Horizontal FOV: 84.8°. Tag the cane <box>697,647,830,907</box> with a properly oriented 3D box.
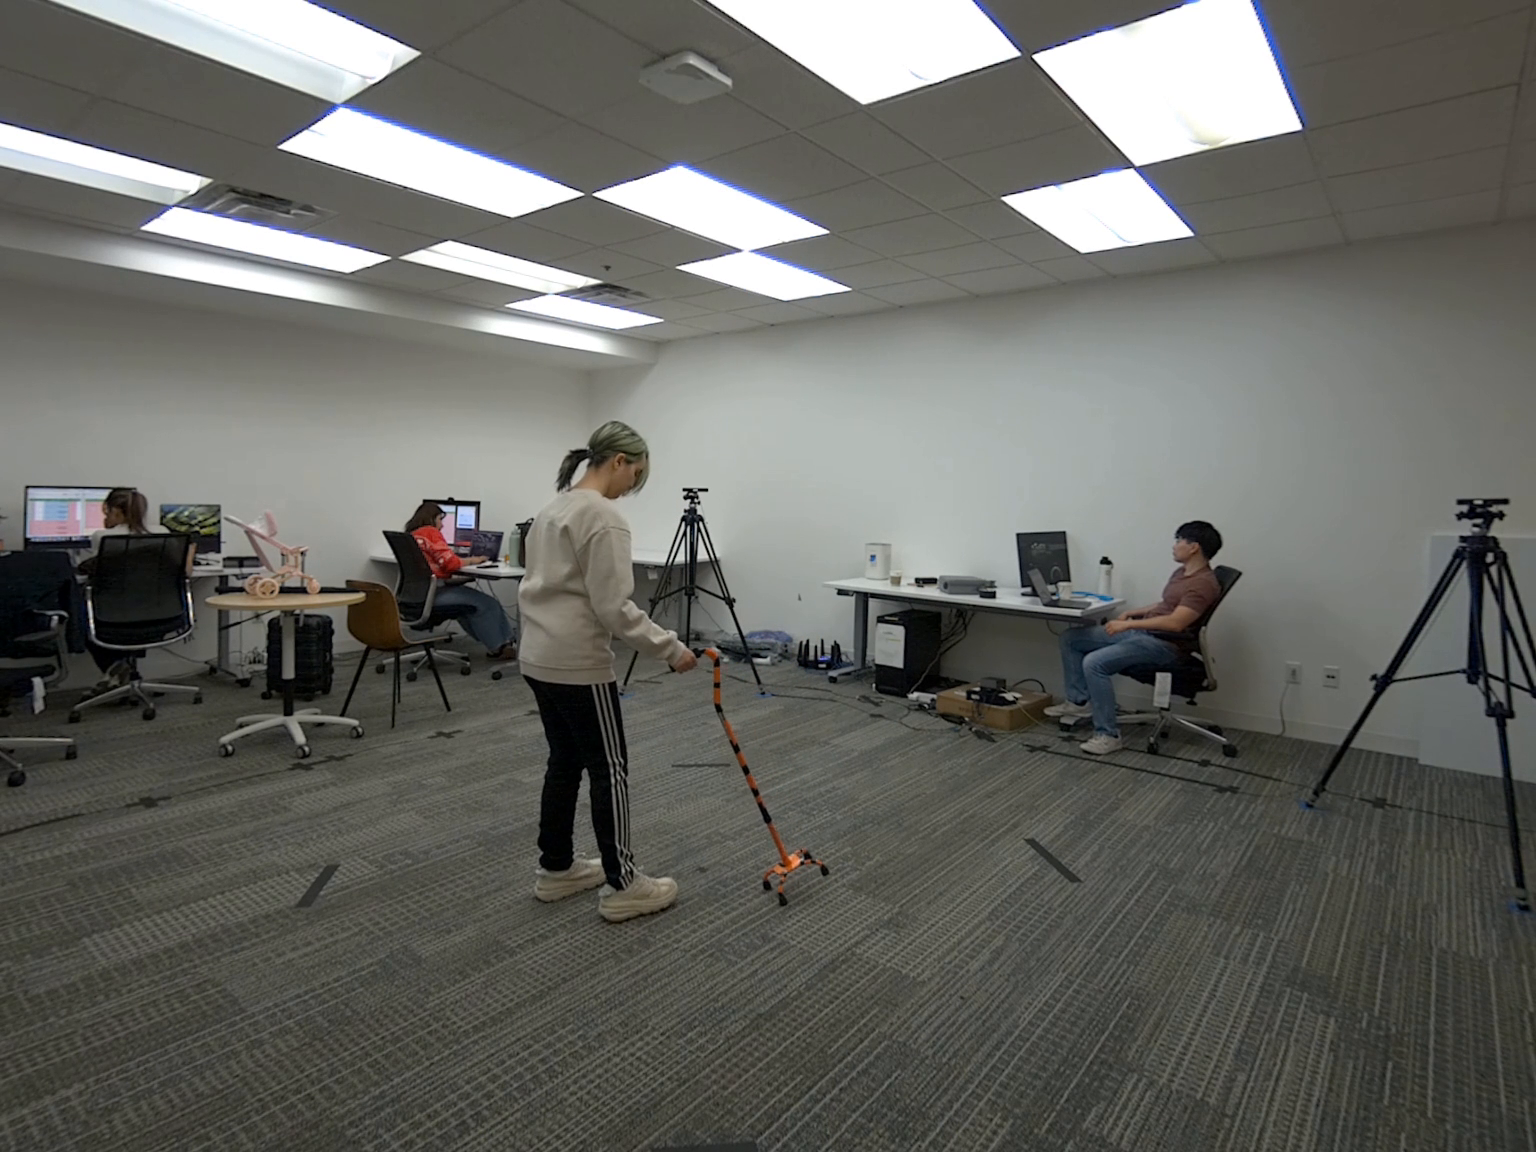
[{"bbox_3d":[-0.075,0.650,2.846,0.204,0.895,0.155,-27,12,-23],"label":"cane"}]
